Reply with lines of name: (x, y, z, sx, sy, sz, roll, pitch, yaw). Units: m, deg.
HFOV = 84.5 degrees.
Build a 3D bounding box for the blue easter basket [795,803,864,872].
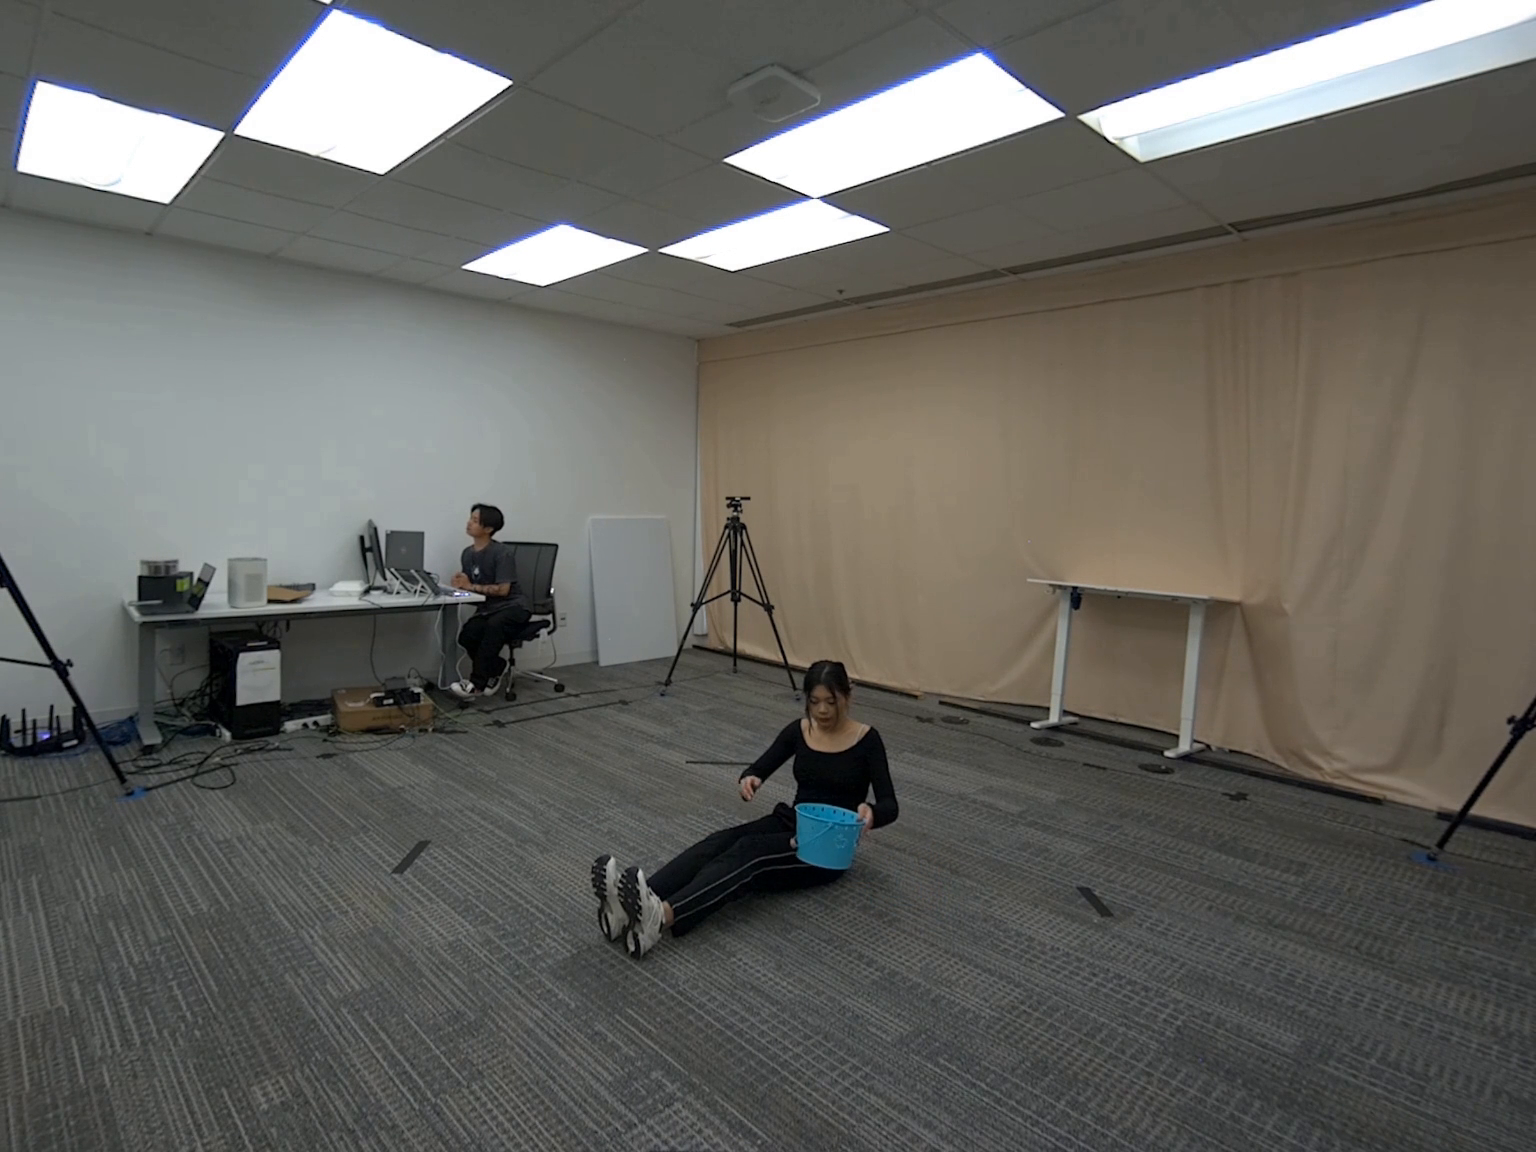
blue easter basket: (0.181, 0.863, 2.779, 0.243, 0.156, 0.243, 9, 0, -1)
